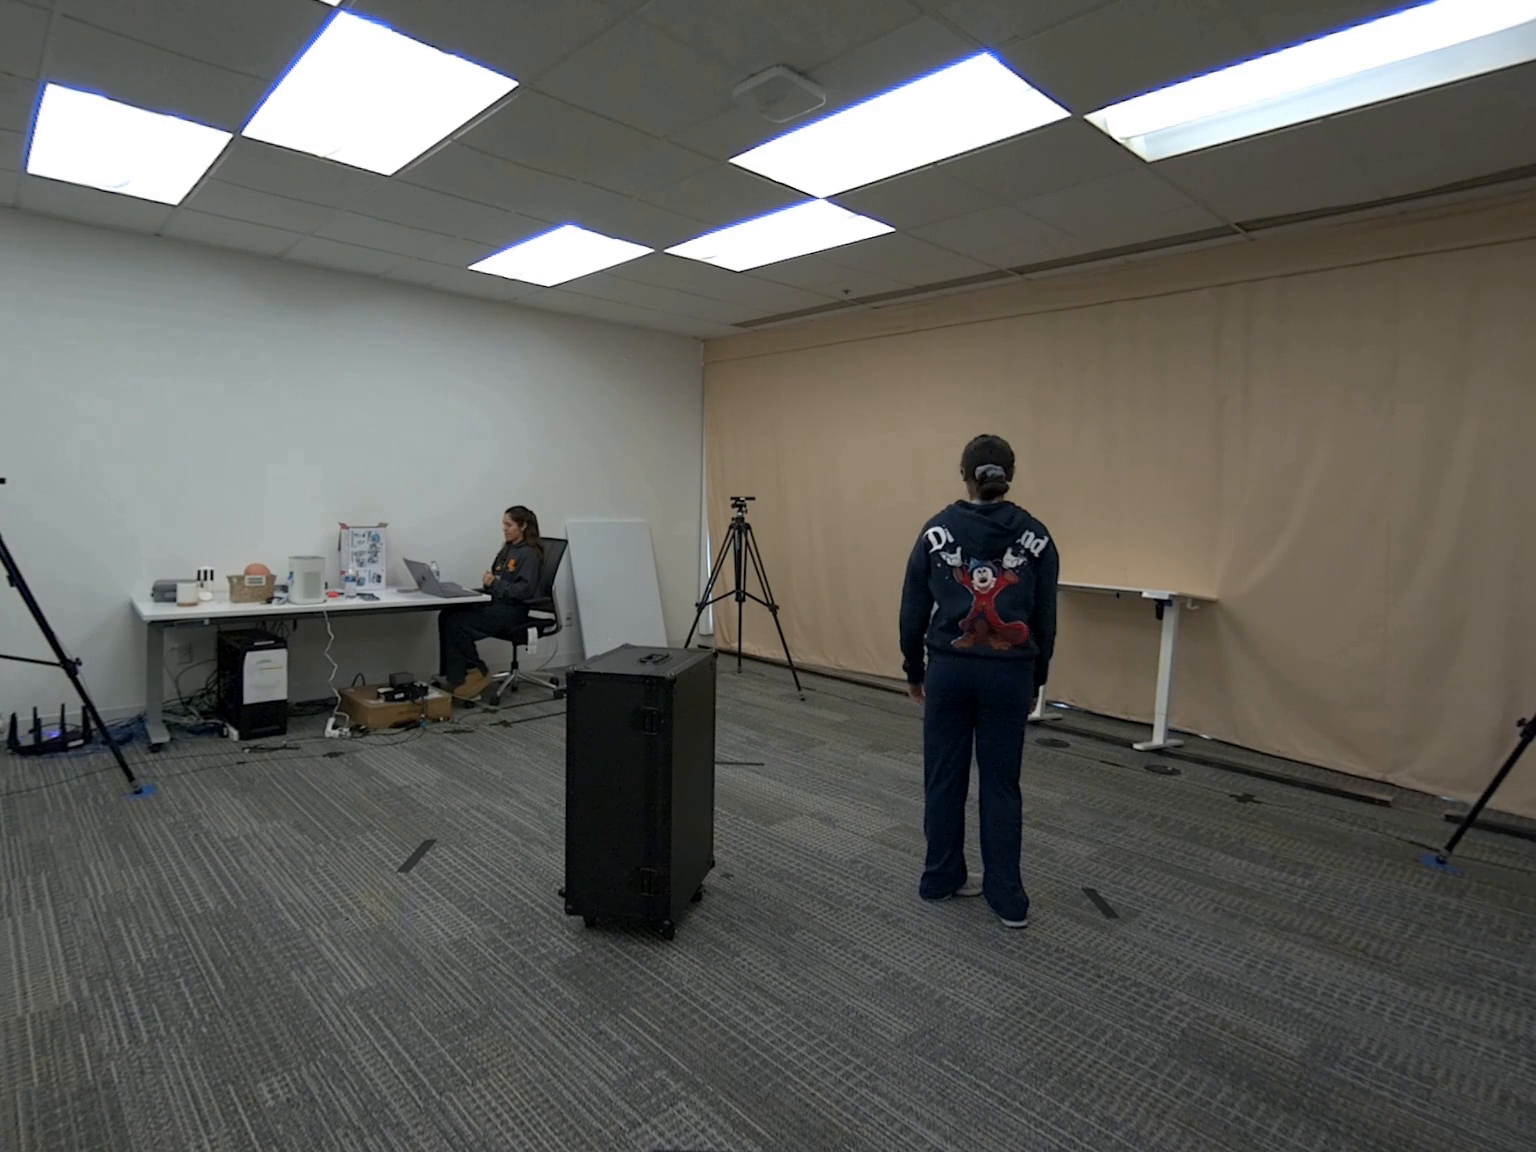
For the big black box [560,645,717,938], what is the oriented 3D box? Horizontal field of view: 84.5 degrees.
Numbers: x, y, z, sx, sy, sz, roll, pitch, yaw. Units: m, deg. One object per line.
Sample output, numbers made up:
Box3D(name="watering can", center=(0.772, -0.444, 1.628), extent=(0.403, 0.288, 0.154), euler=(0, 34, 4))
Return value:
Box3D(name="big black box", center=(-0.428, 0.703, 2.811), extent=(0.401, 0.860, 0.516), euler=(1, 3, 14))
